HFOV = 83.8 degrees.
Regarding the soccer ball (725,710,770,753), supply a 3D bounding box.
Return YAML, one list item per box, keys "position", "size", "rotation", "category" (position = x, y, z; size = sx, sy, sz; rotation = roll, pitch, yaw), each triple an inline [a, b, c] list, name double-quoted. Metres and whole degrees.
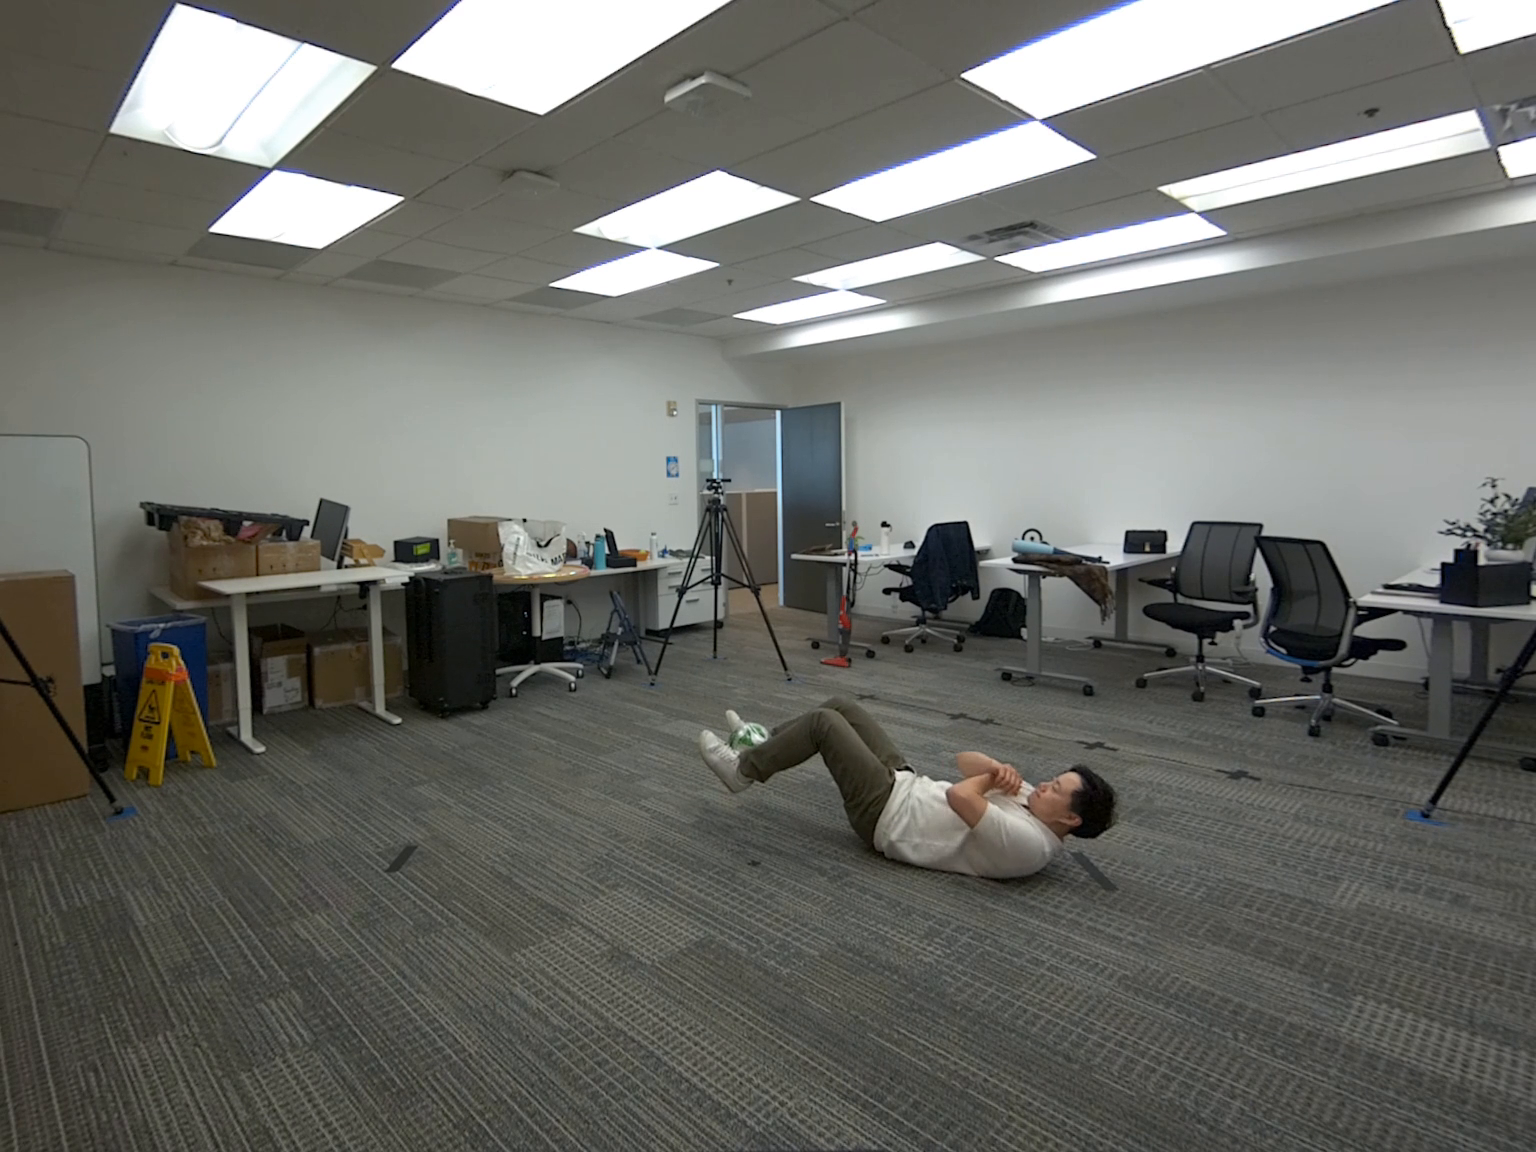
- position: [-0.065, 0.695, 3.483]
  size: [0.187, 0.187, 0.188]
  rotation: [-1, 5, -2]
  category: "soccer ball"
